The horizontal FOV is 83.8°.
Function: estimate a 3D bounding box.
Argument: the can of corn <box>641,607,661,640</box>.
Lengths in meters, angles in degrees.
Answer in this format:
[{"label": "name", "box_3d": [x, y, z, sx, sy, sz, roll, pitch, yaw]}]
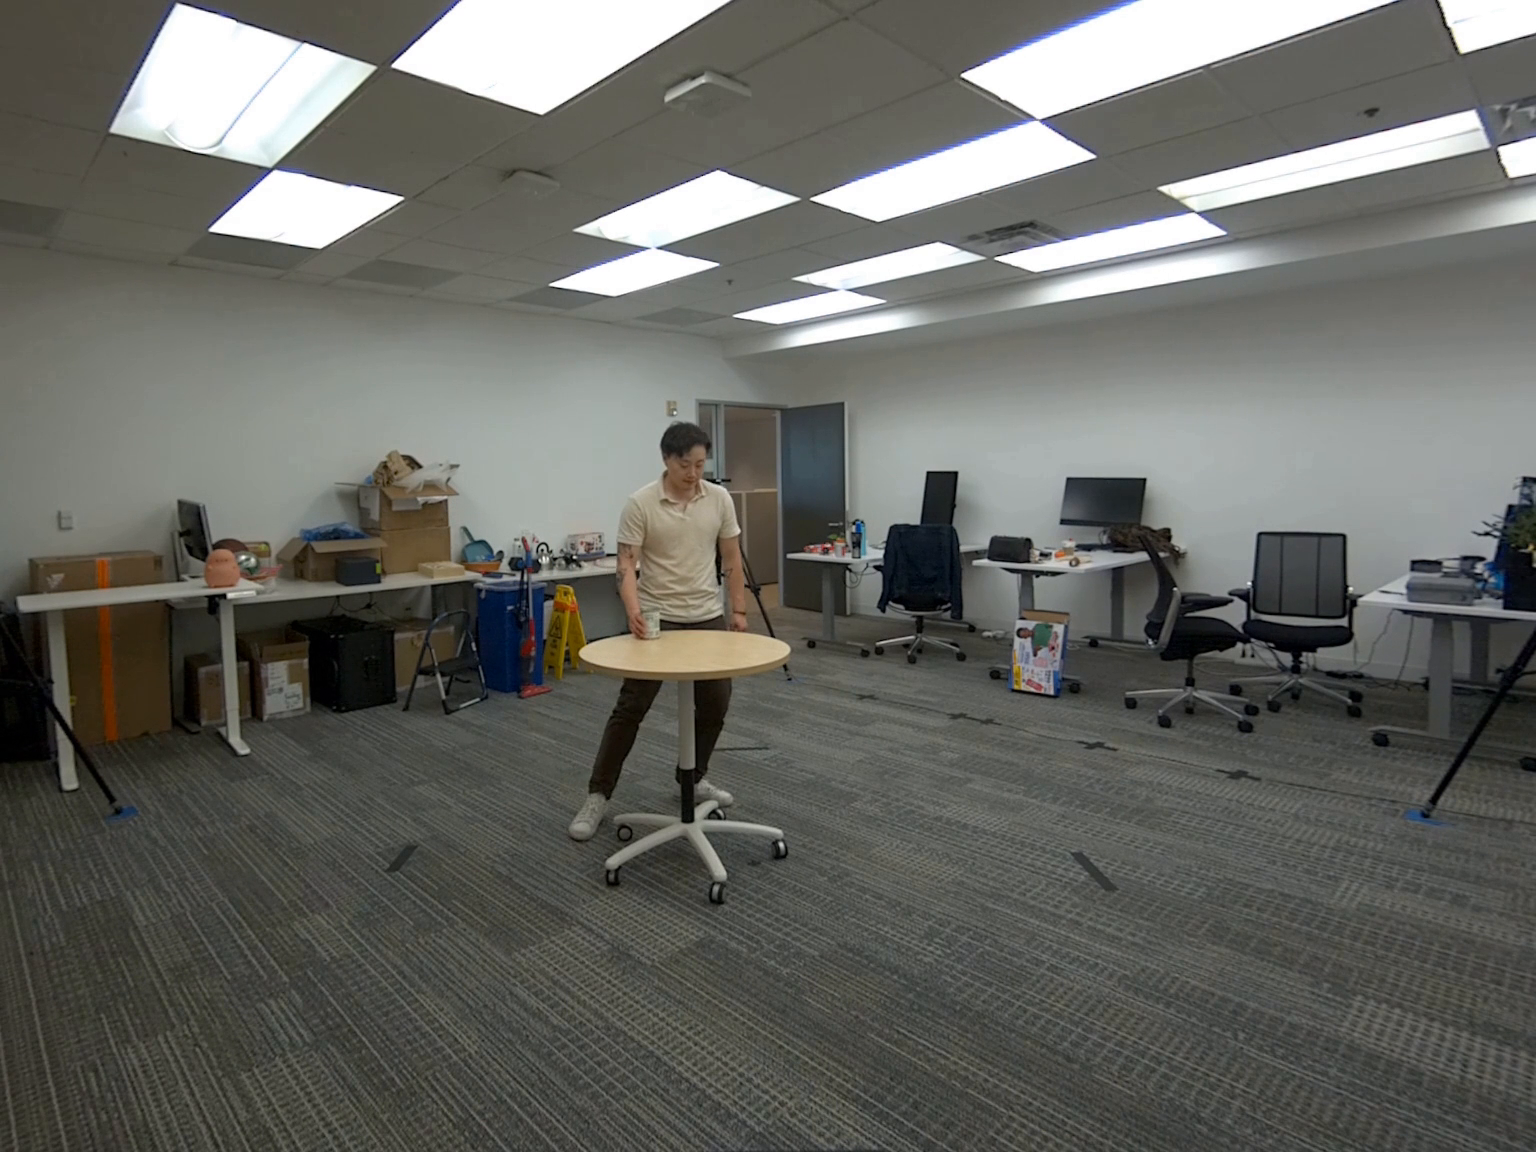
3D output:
[{"label": "can of corn", "box_3d": [-0.467, 0.193, 3.323, 0.074, 0.111, 0.074, -4, -1, -2]}]
